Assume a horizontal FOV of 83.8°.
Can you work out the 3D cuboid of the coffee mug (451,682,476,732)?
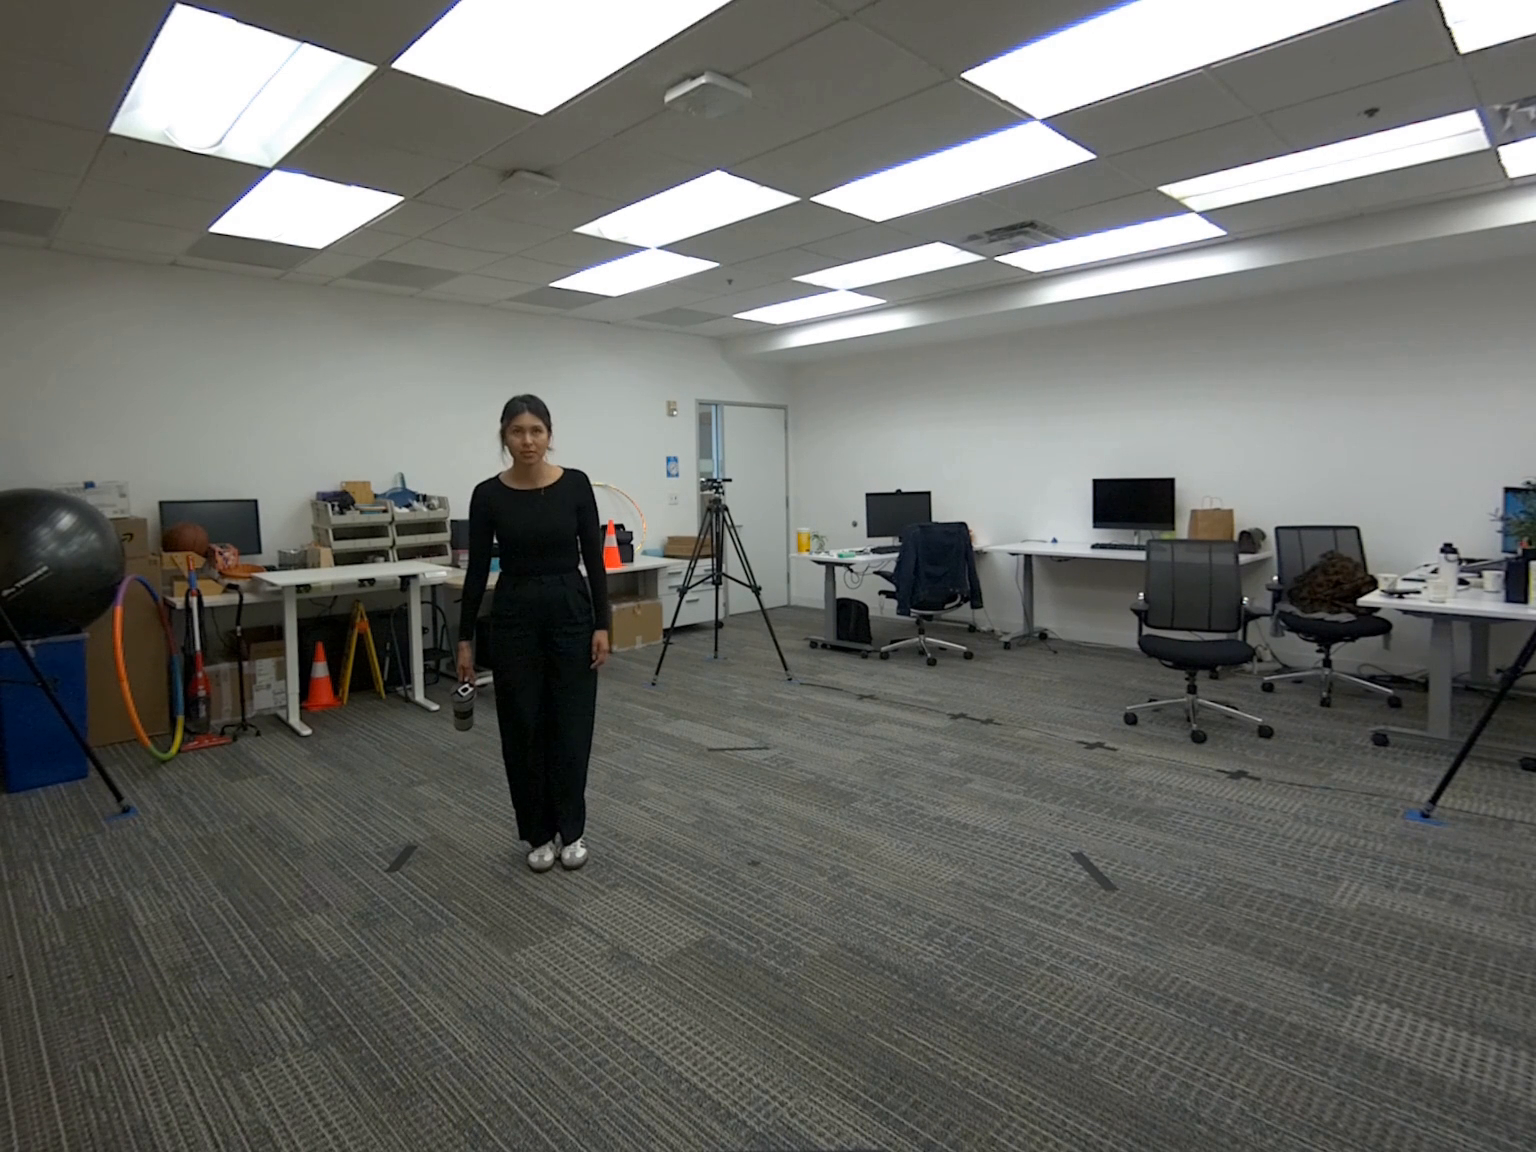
[{"bbox_3d":[-1.094,0.470,3.086,0.089,0.198,0.123,15,43,8],"label":"coffee mug"}]
